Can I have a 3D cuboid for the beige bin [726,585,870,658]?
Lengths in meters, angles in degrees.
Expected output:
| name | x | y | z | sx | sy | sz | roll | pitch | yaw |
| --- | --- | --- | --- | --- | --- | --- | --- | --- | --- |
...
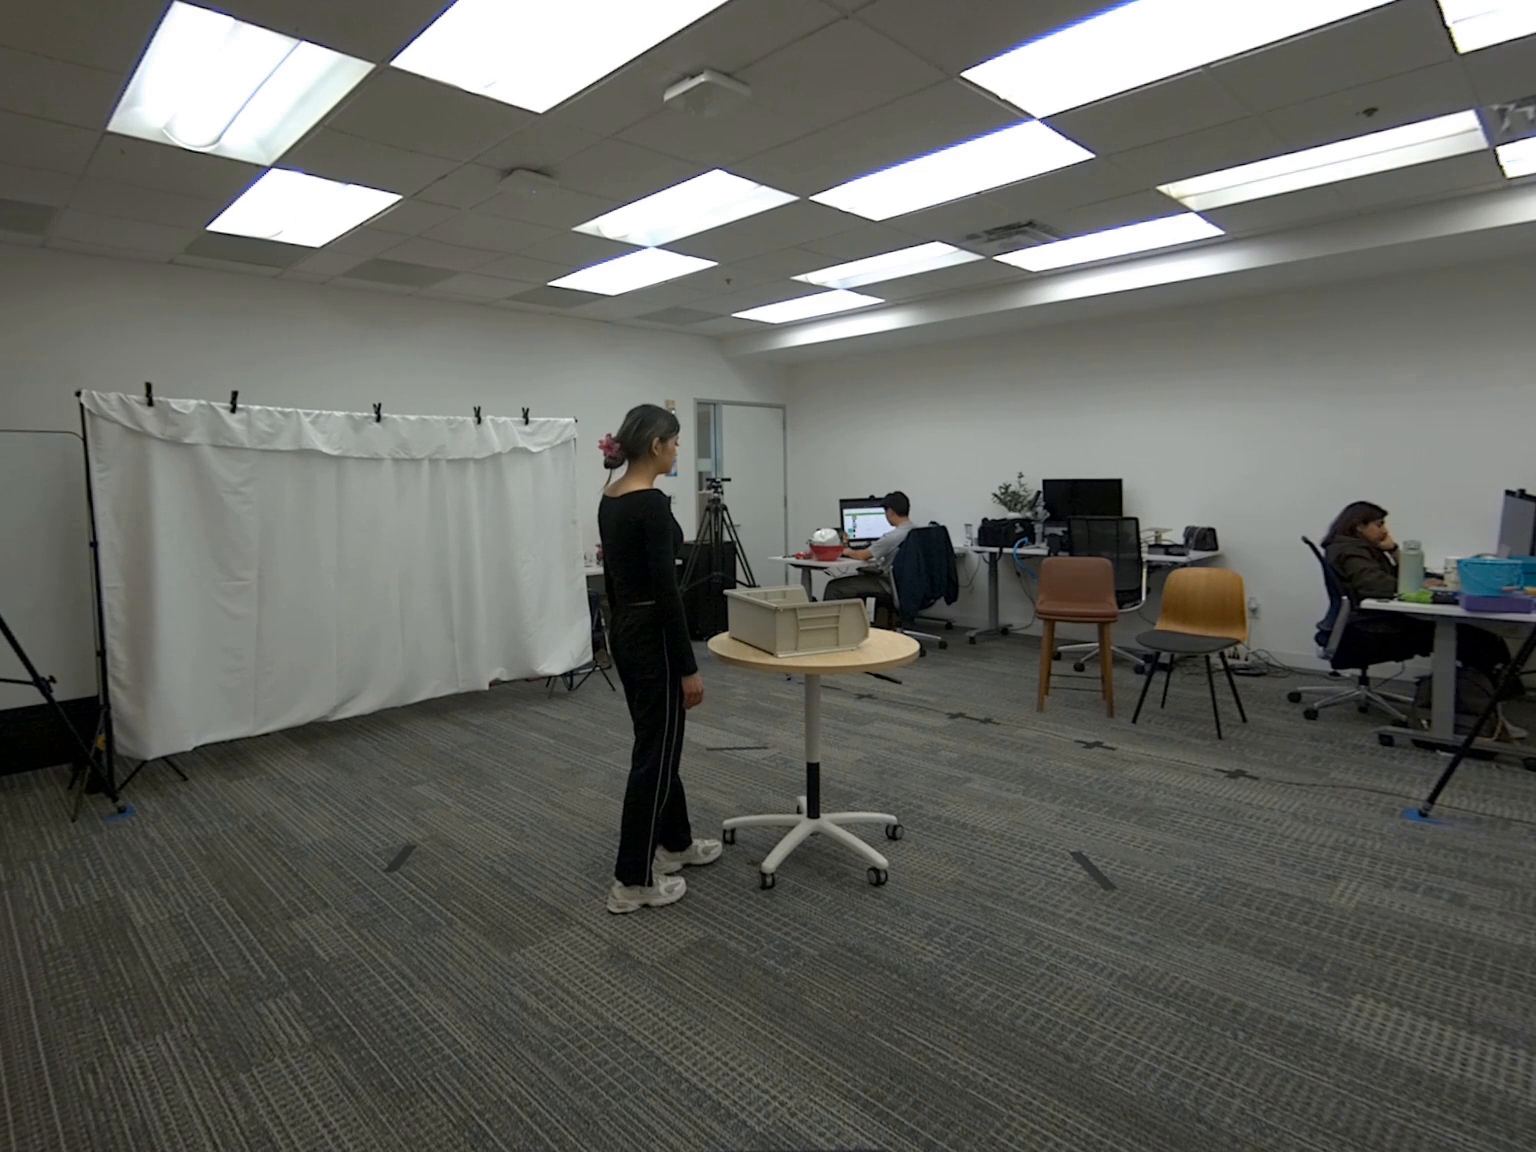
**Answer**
| name | x | y | z | sx | sy | sz | roll | pitch | yaw |
| --- | --- | --- | --- | --- | --- | --- | --- | --- | --- |
| beige bin | 0.096 | 0.155 | 3.113 | 0.370 | 0.188 | 0.433 | -5 | 8 | -25 |
